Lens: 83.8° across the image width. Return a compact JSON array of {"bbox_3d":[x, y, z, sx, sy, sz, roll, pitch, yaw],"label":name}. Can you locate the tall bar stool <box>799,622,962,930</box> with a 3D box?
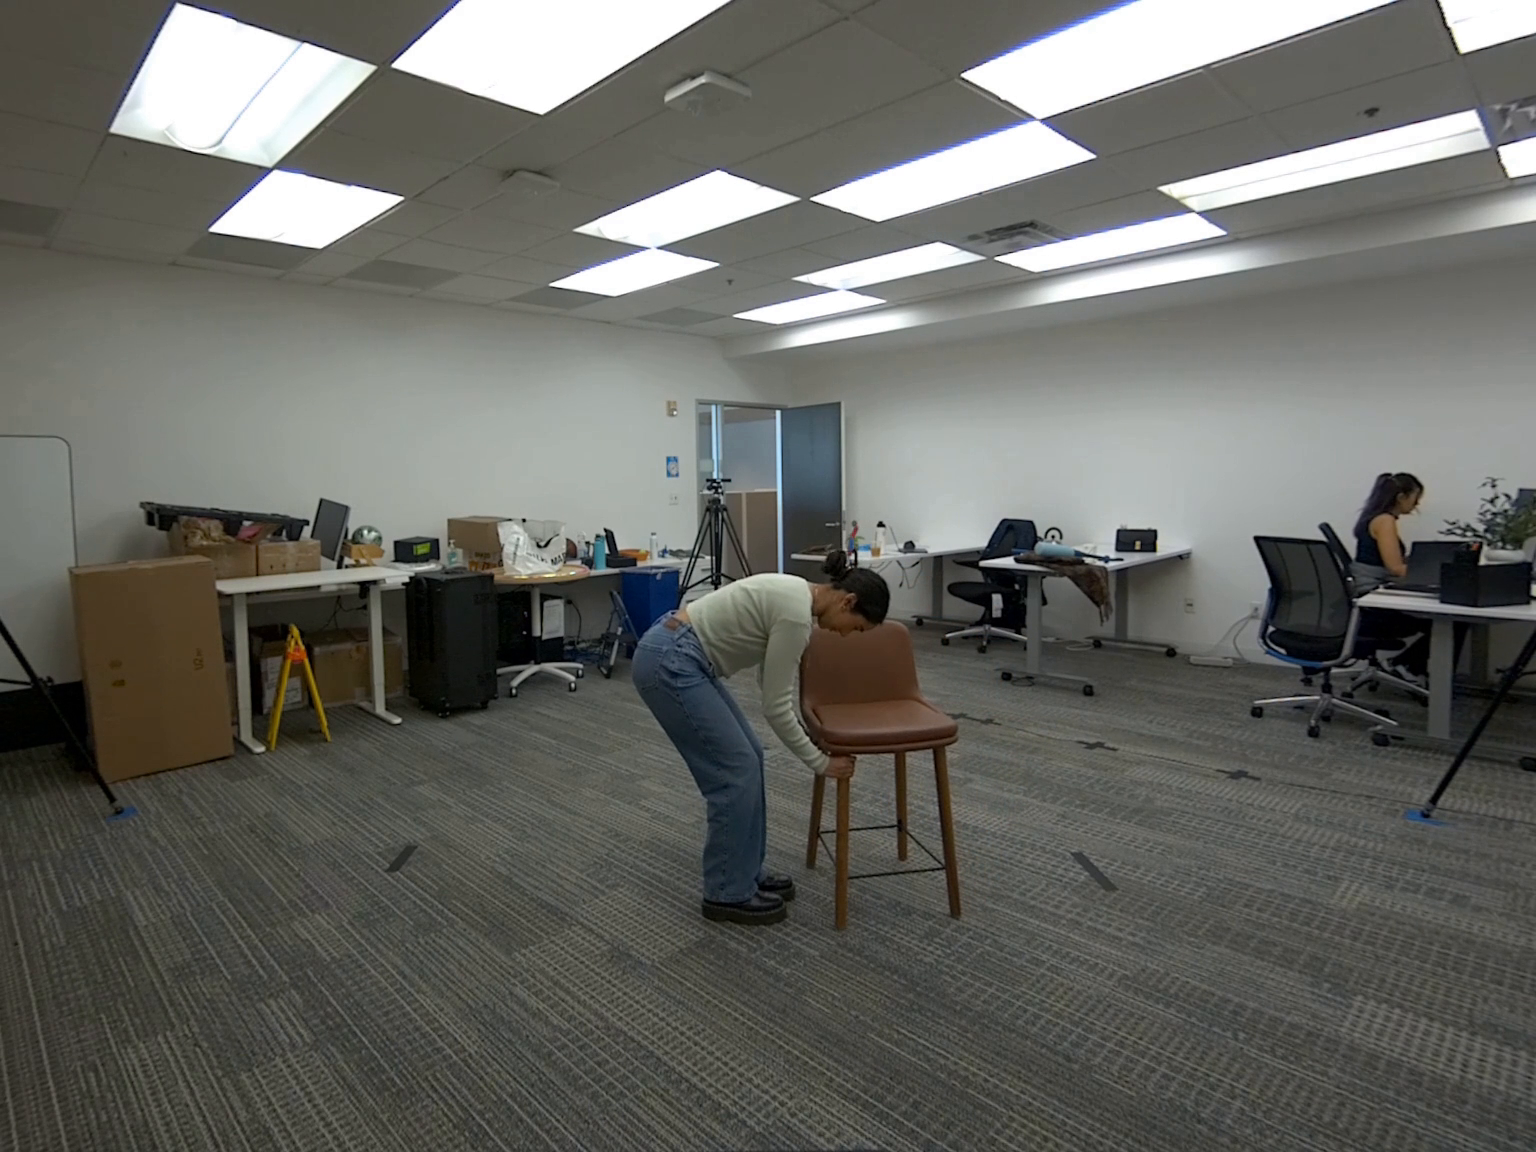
[{"bbox_3d":[0.369,0.633,2.867,0.452,0.888,0.473,-1,3,-12],"label":"tall bar stool"}]
